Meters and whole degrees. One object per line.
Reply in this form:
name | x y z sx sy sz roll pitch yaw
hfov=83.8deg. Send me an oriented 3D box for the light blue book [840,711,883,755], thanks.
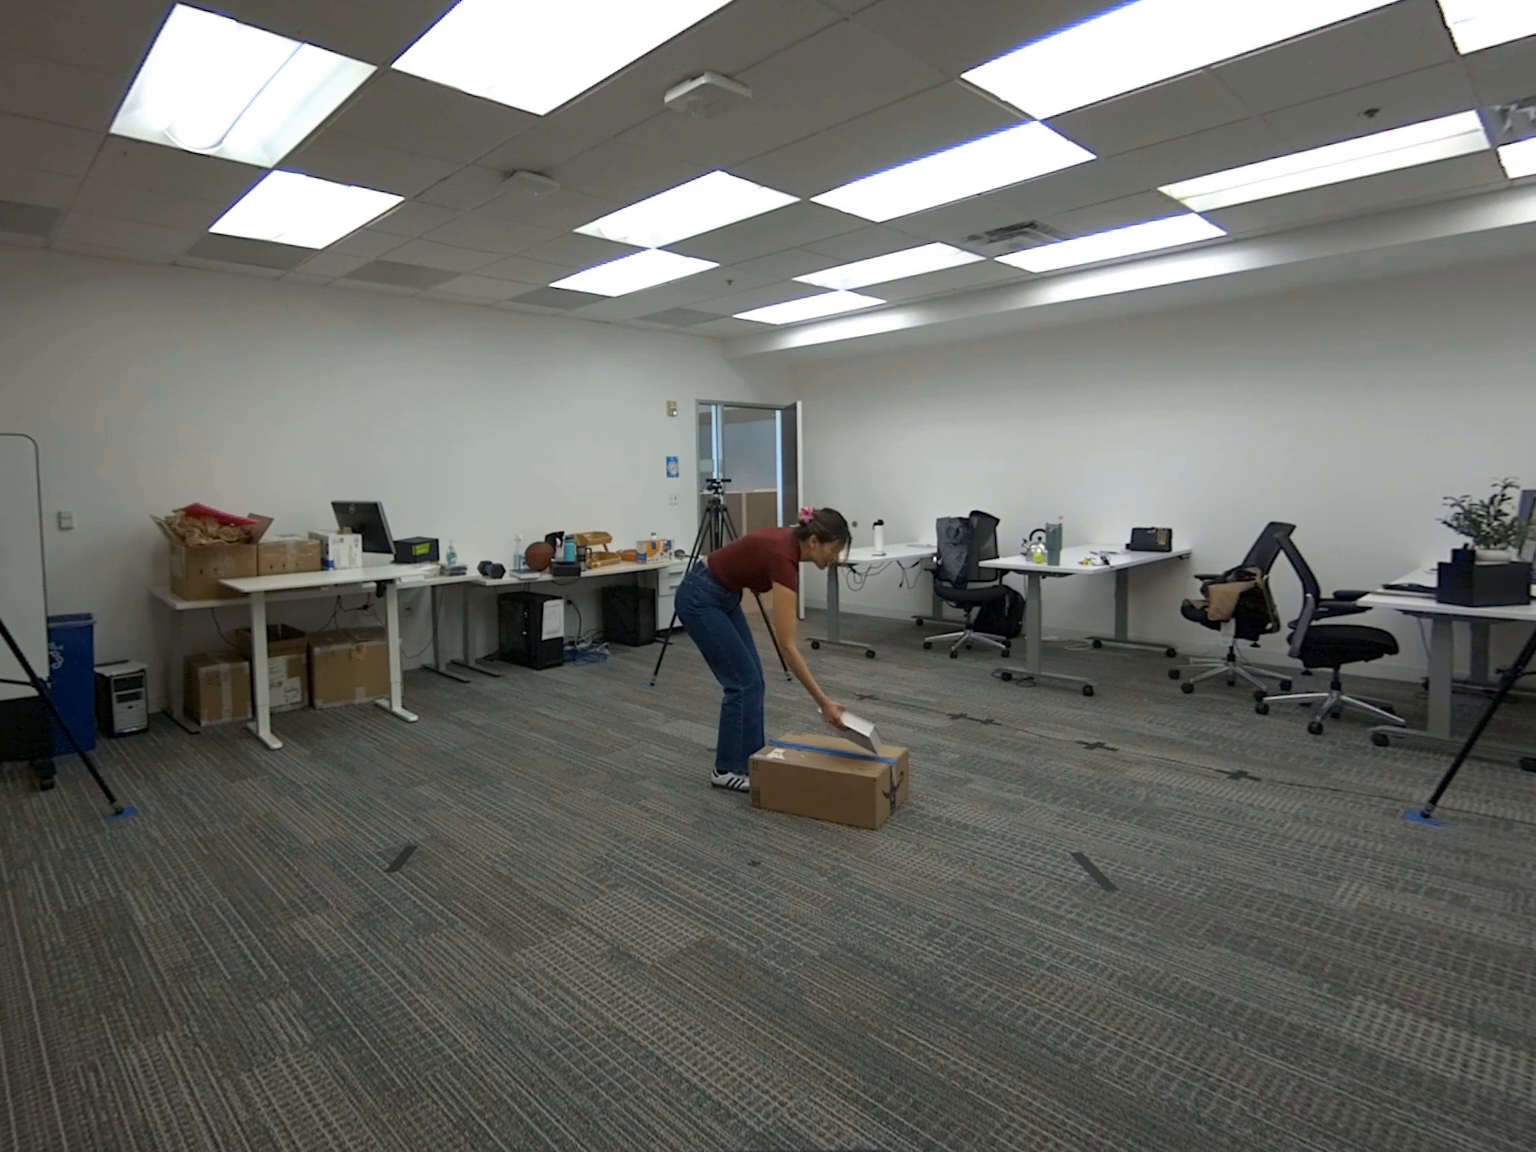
light blue book | 0.338 0.632 3.620 0.270 0.059 0.184 20 -25 34
